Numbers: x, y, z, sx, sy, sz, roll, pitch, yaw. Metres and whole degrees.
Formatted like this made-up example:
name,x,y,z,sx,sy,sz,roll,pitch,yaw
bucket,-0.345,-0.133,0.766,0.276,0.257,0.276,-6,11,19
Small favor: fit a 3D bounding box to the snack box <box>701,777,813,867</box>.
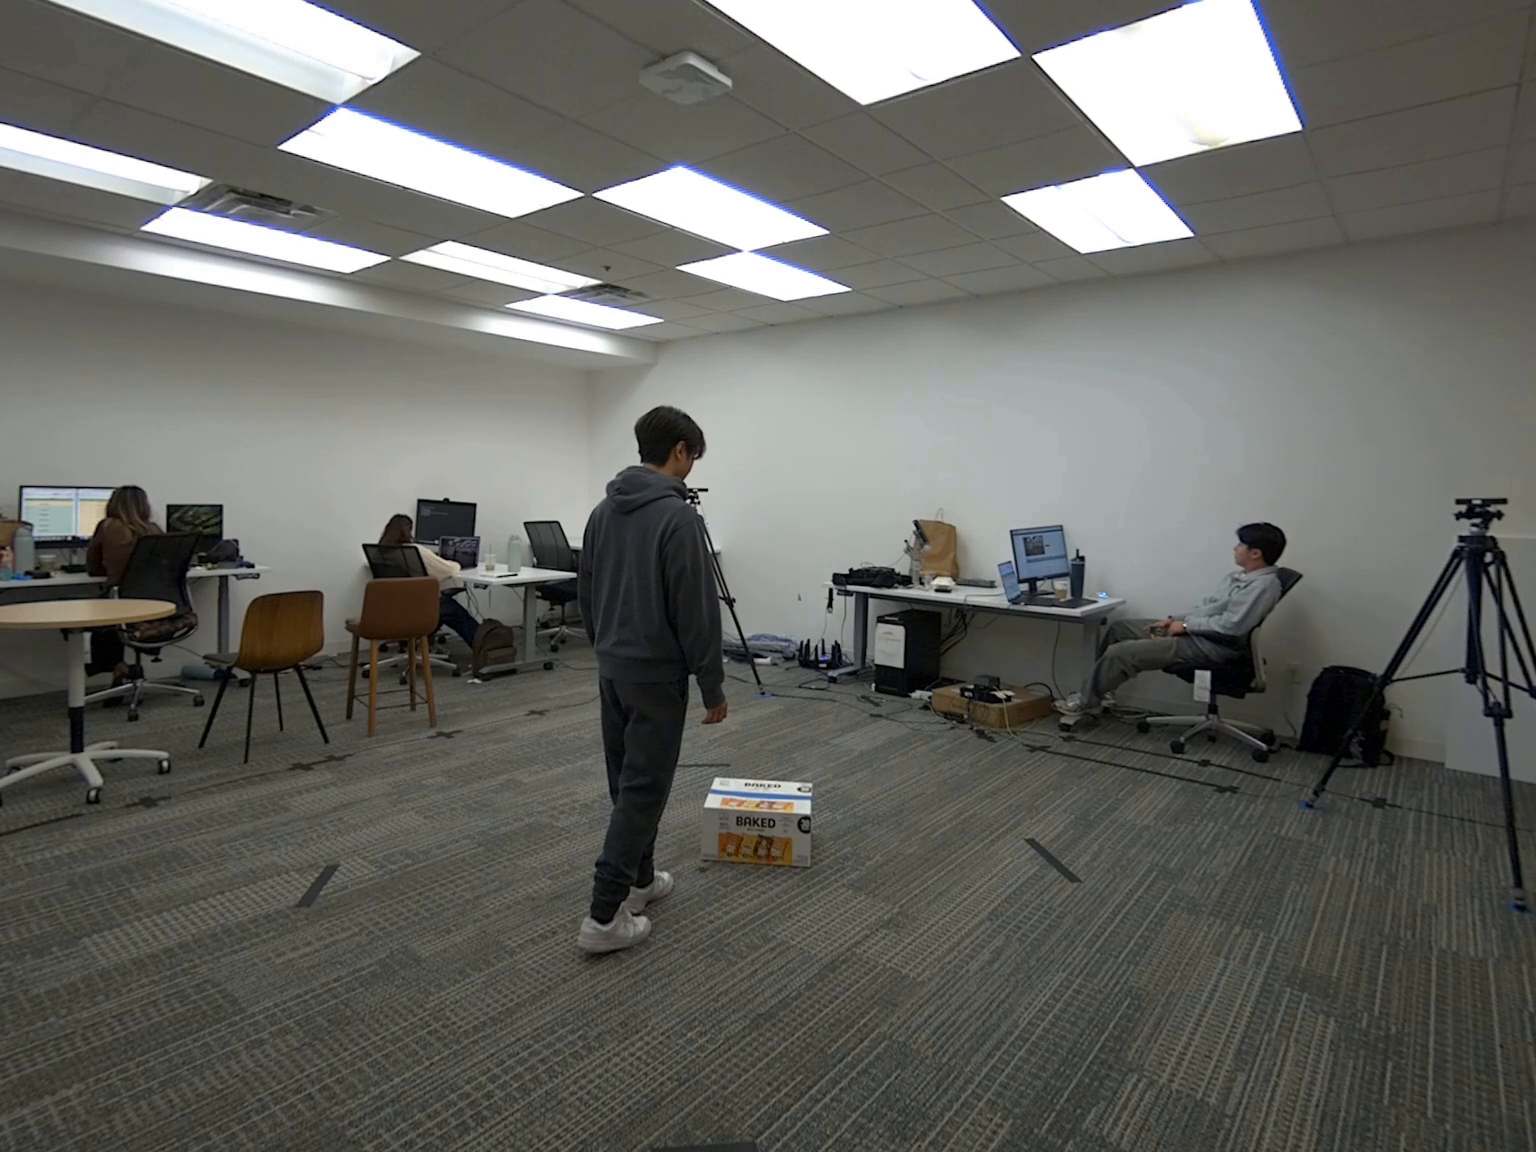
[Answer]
name,x,y,z,sx,sy,sz,roll,pitch,yaw
snack box,-0.043,0.950,3.320,0.408,0.205,0.339,2,5,6
